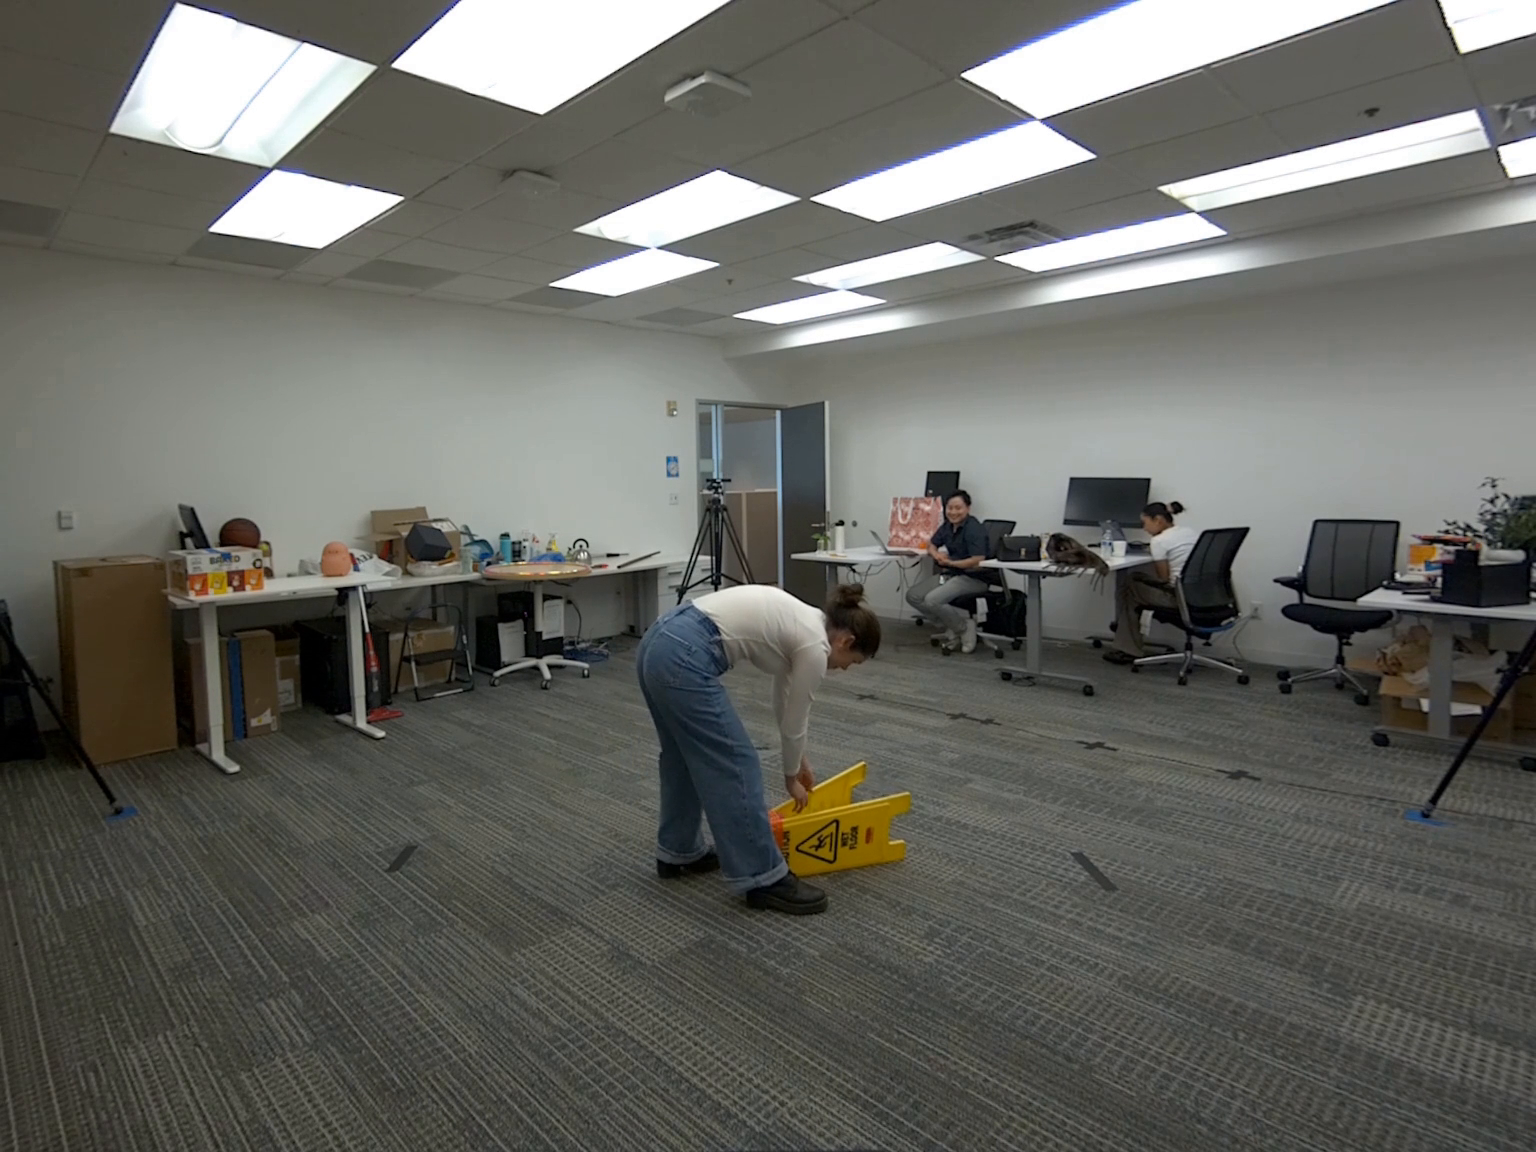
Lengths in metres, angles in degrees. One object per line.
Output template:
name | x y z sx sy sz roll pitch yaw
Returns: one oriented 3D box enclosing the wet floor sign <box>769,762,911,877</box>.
wet floor sign | 0.166 0.915 3.043 0.632 0.278 0.300 -9 18 -29
